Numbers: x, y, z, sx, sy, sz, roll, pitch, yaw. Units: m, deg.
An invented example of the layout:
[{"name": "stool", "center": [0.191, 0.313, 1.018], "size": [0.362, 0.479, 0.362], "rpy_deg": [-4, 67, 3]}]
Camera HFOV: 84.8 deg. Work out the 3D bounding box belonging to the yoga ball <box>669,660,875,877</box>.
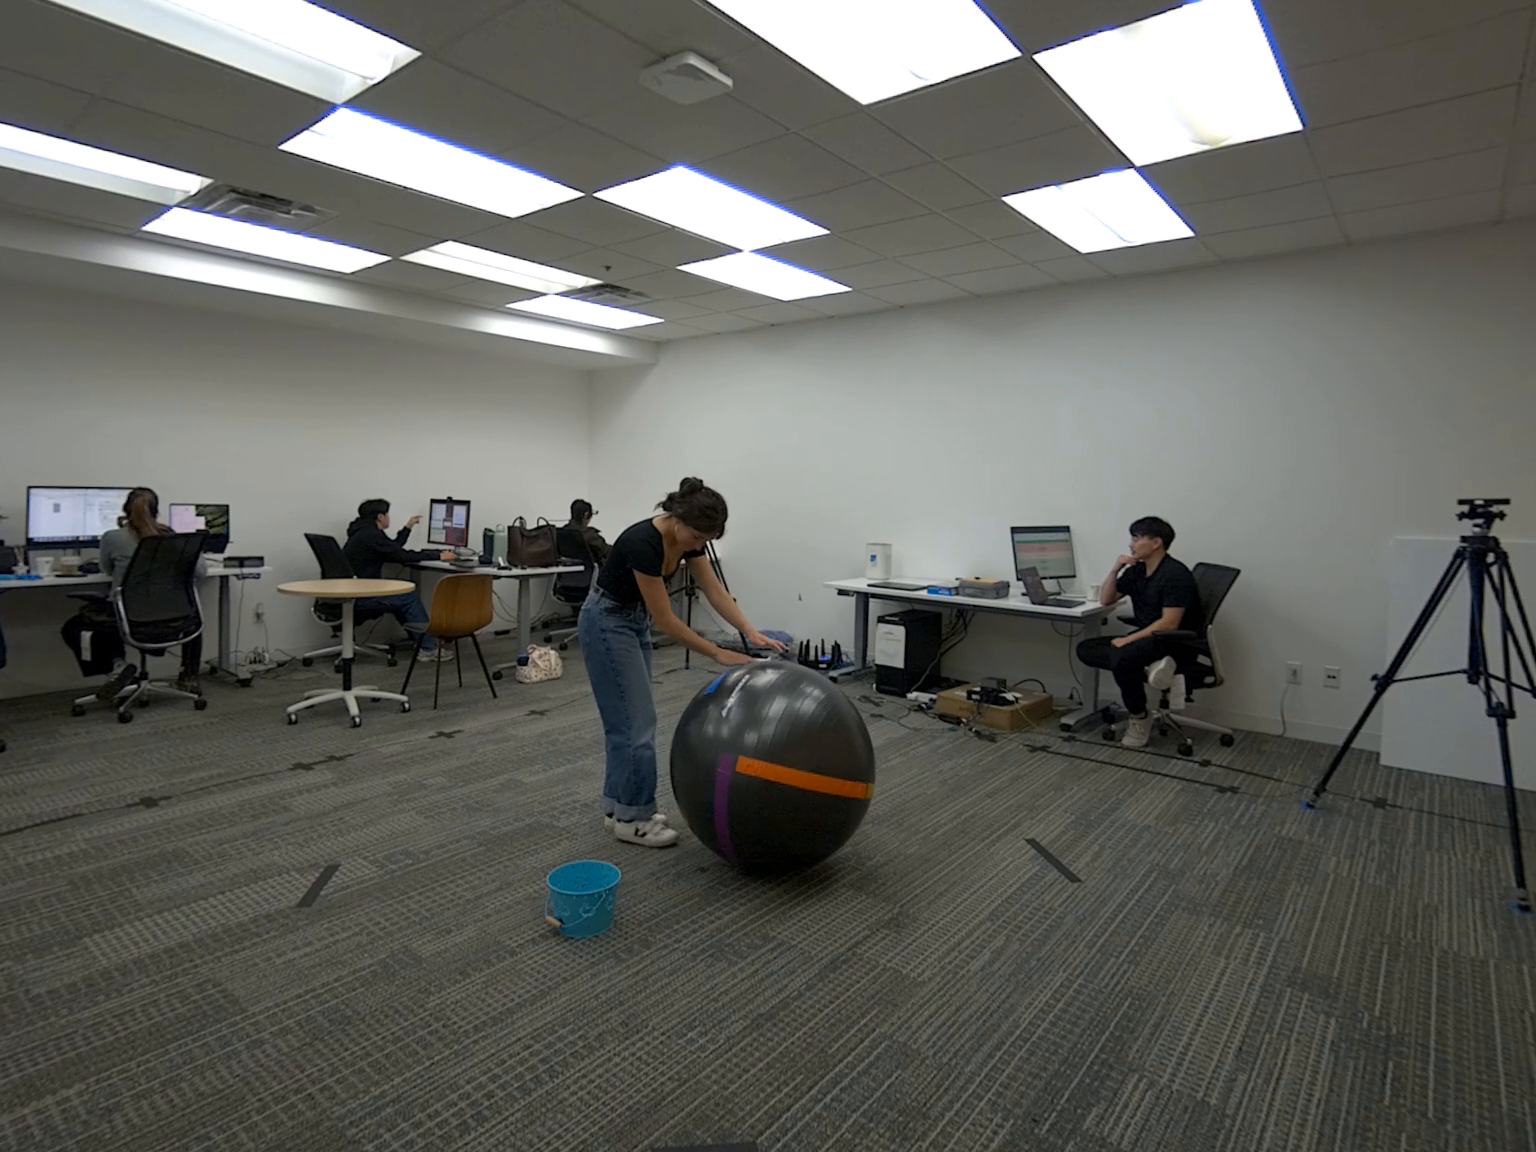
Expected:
[{"name": "yoga ball", "center": [0.001, 0.697, 3.165], "size": [0.757, 0.756, 0.762], "rpy_deg": [1, 4, -2]}]
